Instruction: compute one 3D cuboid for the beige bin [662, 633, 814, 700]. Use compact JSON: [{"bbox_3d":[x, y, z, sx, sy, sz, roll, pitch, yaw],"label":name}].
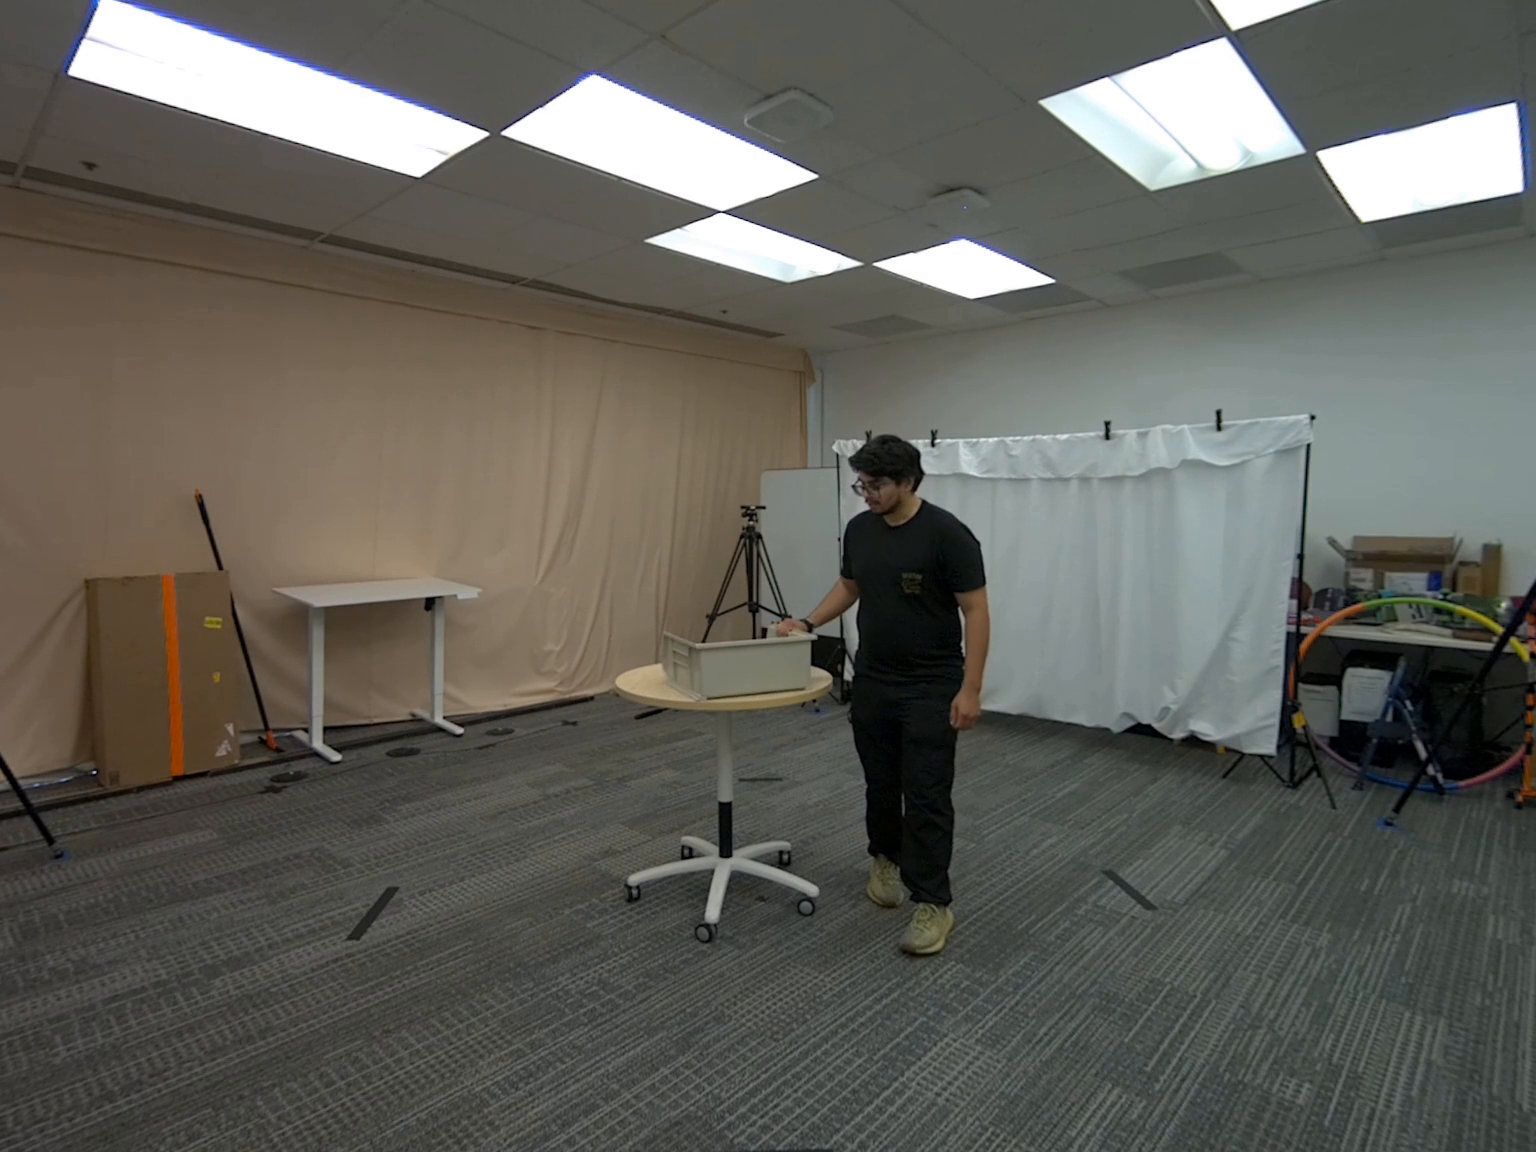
[{"bbox_3d":[-0.109,0.282,2.842,0.413,0.188,0.387,-2,6,-23],"label":"beige bin"}]
